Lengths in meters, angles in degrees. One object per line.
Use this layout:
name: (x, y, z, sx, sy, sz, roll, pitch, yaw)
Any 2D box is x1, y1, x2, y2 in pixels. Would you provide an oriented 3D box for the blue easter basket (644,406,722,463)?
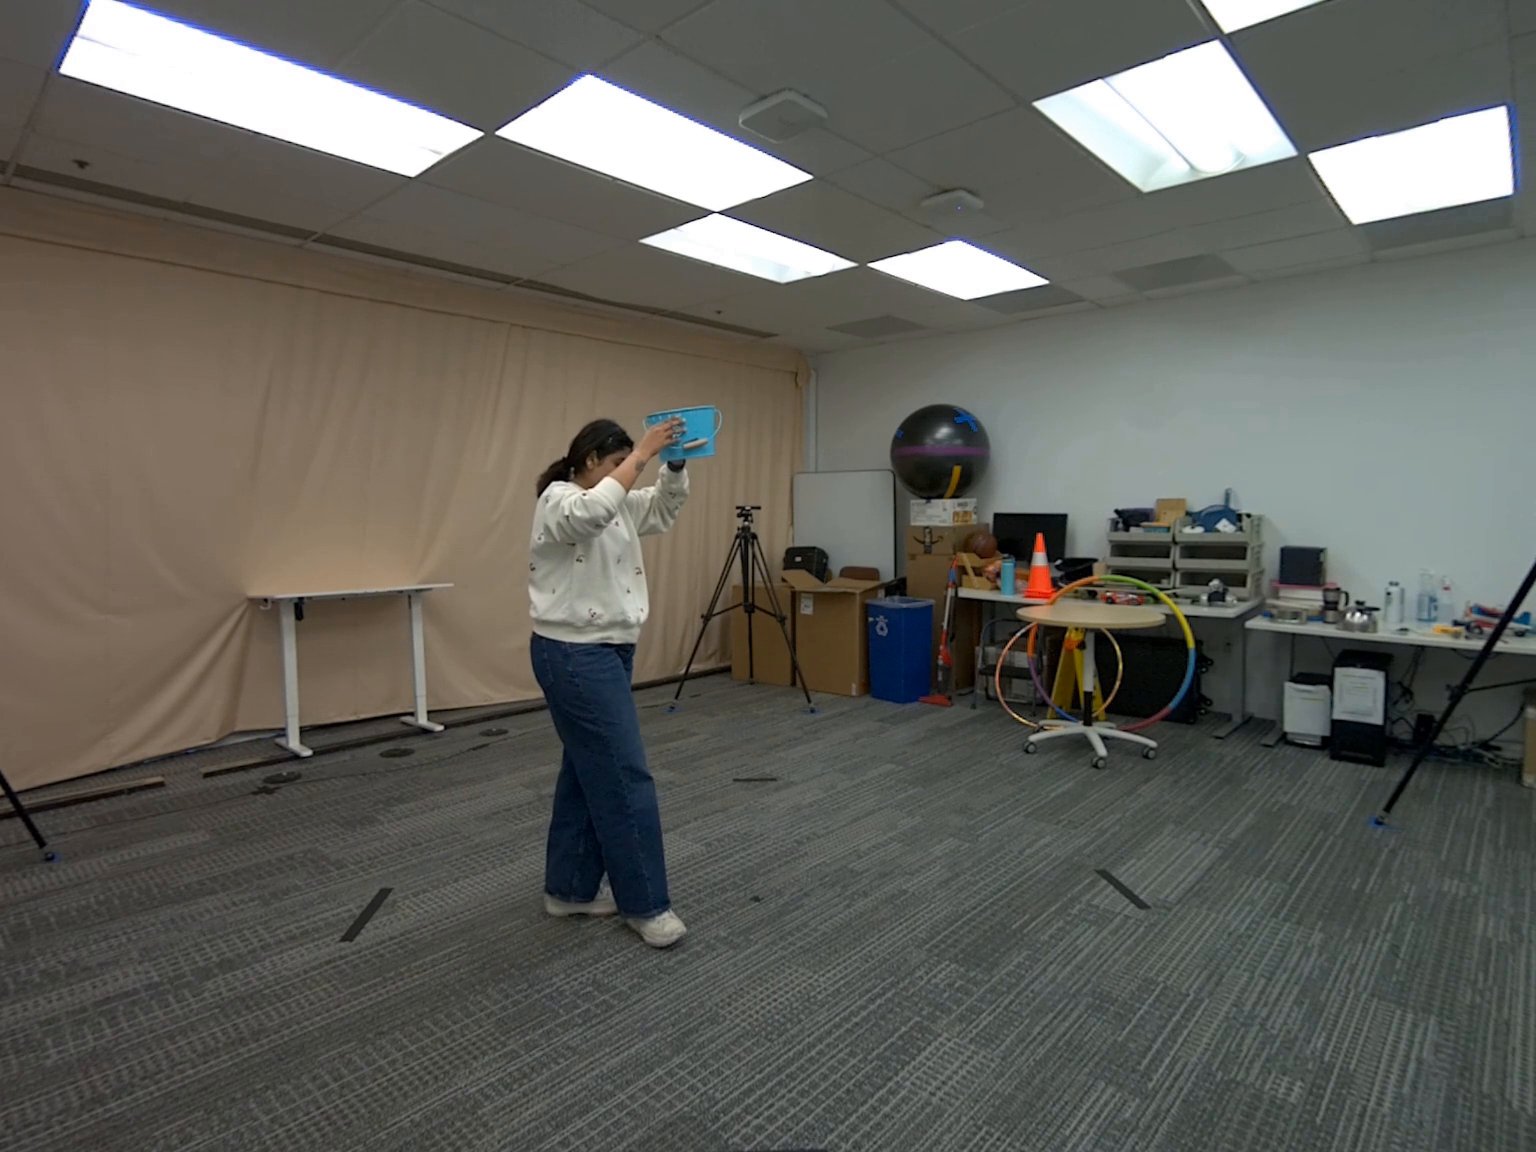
blue easter basket: (-0.275, -0.461, 2.718, 0.243, 0.155, 0.245, -8, 6, -1)
